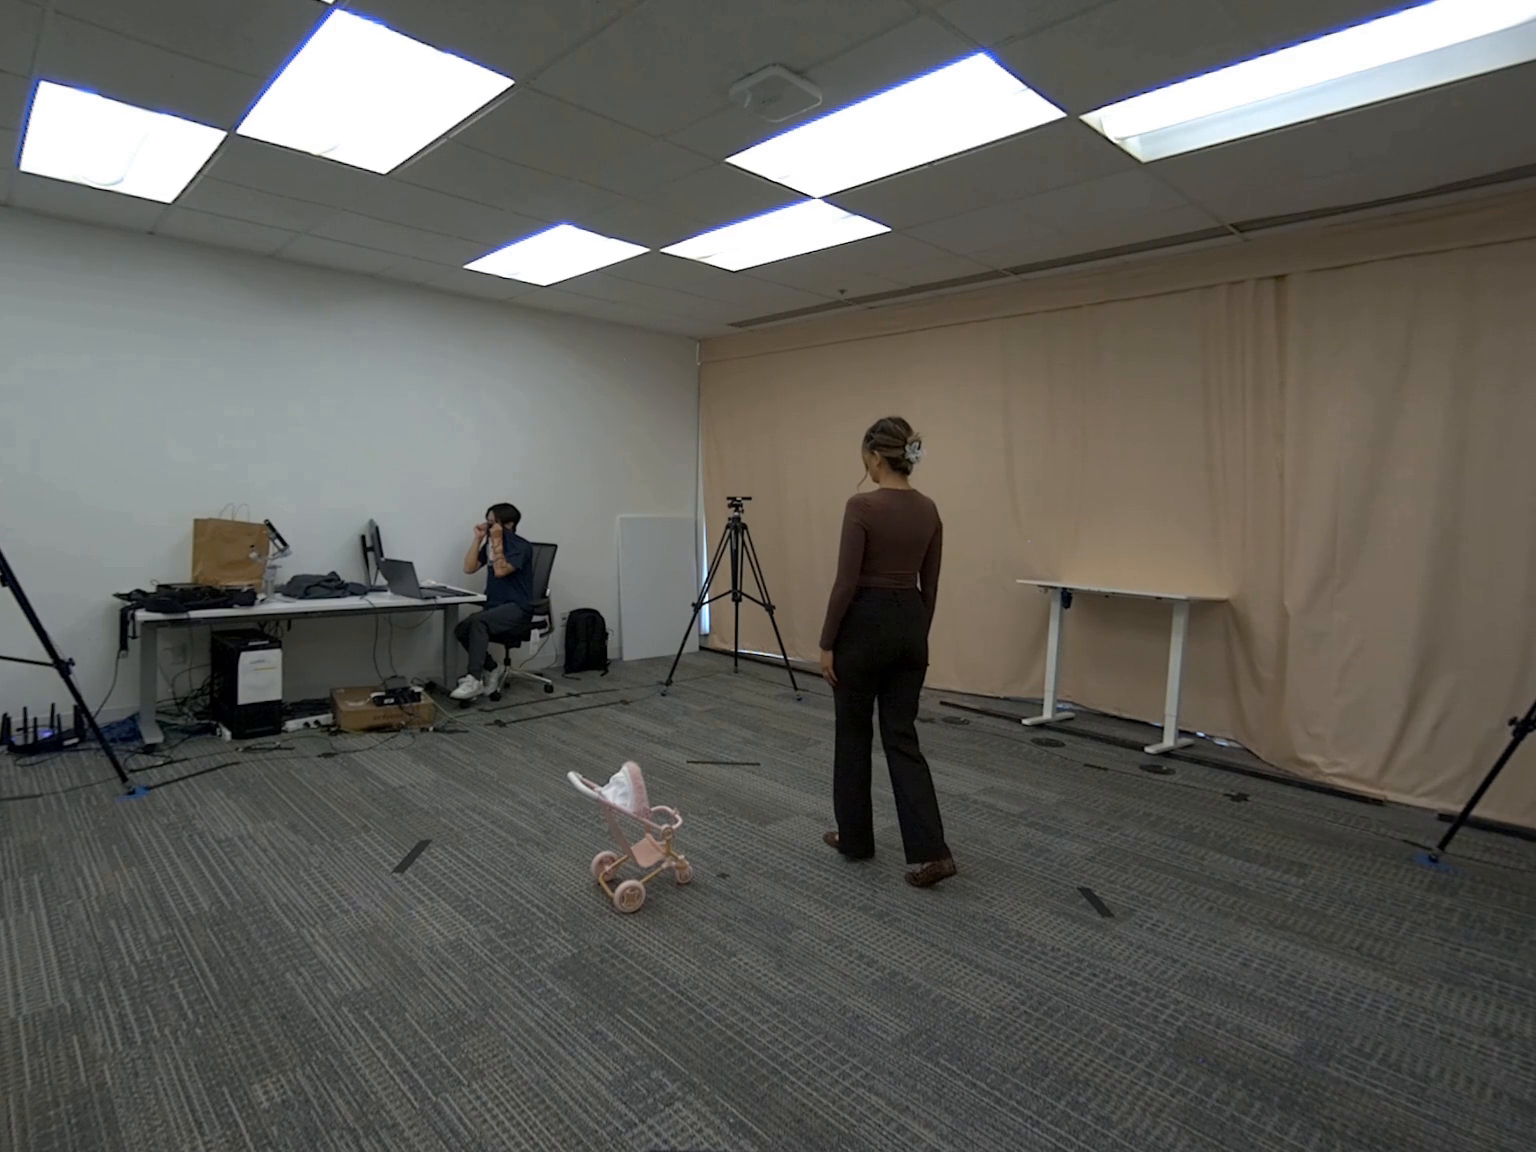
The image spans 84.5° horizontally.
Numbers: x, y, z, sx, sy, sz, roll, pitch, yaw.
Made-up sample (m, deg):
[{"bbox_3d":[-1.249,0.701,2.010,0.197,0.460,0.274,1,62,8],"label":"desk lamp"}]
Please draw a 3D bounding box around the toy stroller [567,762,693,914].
[{"bbox_3d":[-0.470,0.887,2.937,0.337,0.530,0.287,-17,11,-23],"label":"toy stroller"}]
